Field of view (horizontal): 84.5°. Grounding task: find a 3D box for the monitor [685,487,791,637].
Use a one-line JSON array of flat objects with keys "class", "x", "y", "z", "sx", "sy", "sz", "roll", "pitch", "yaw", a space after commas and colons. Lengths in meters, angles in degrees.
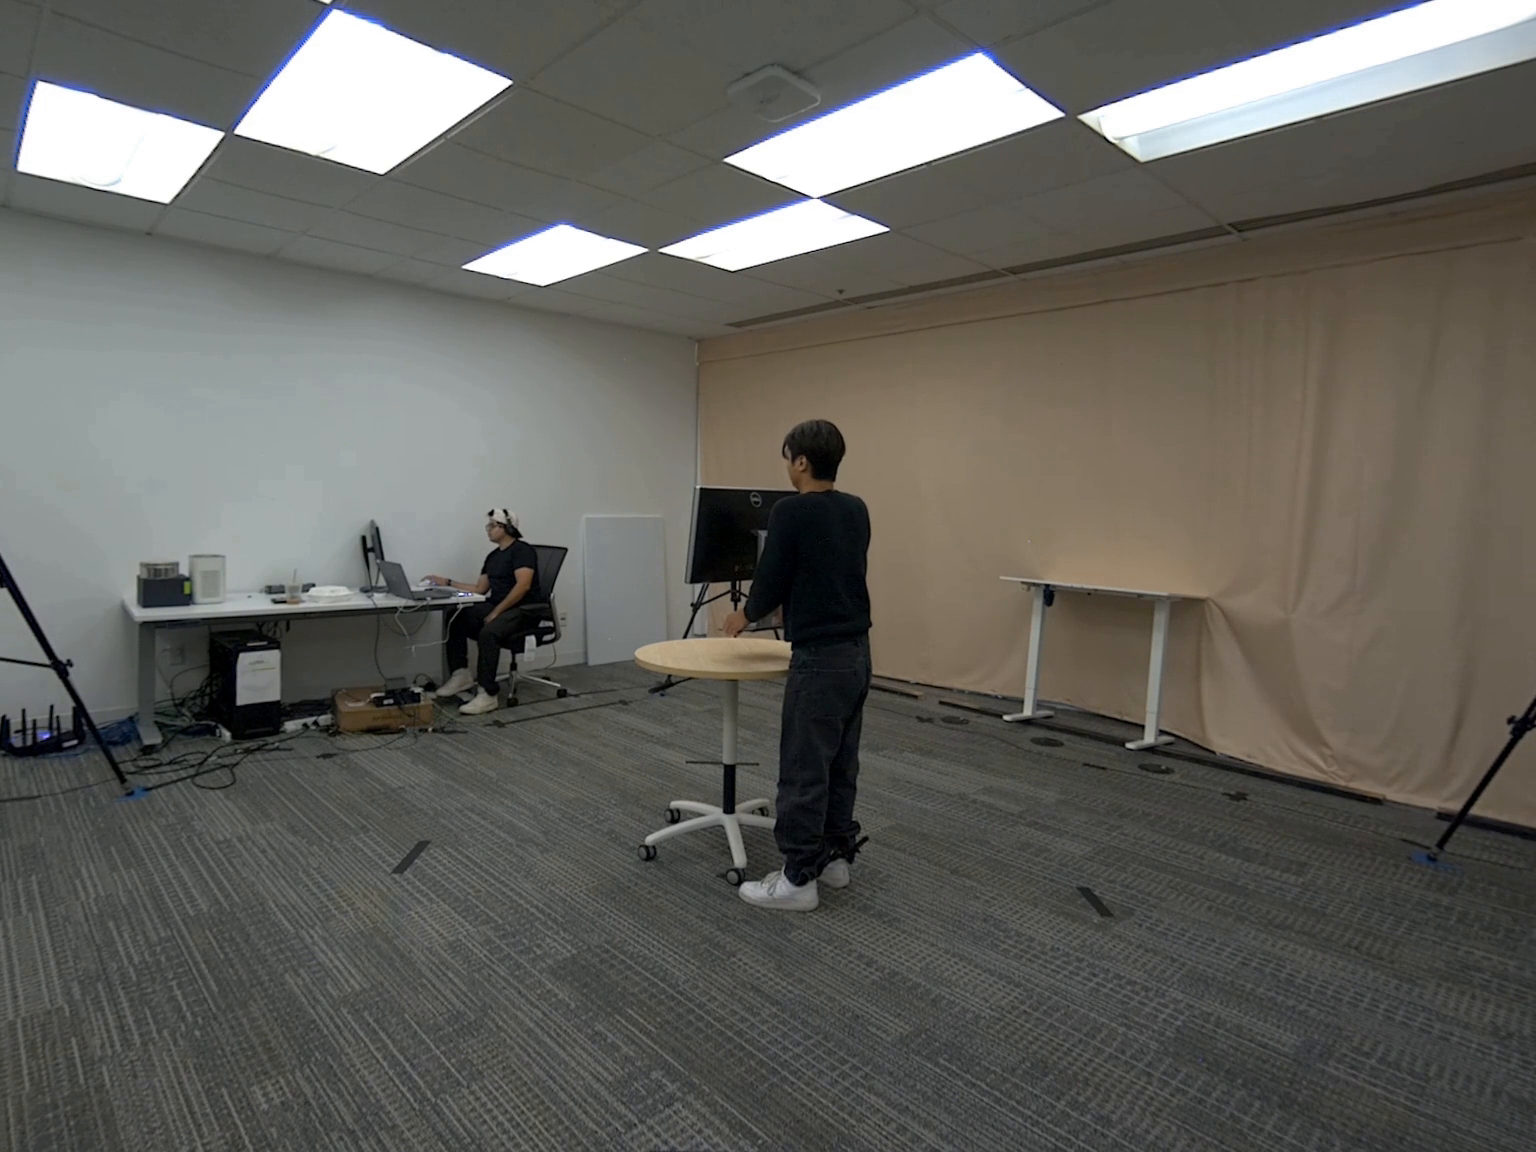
[{"class": "monitor", "x": -0.063, "y": -0.070, "z": 3.232, "sx": 0.191, "sy": 0.522, "sz": 0.527, "roll": -2, "pitch": 0, "yaw": 42}]
